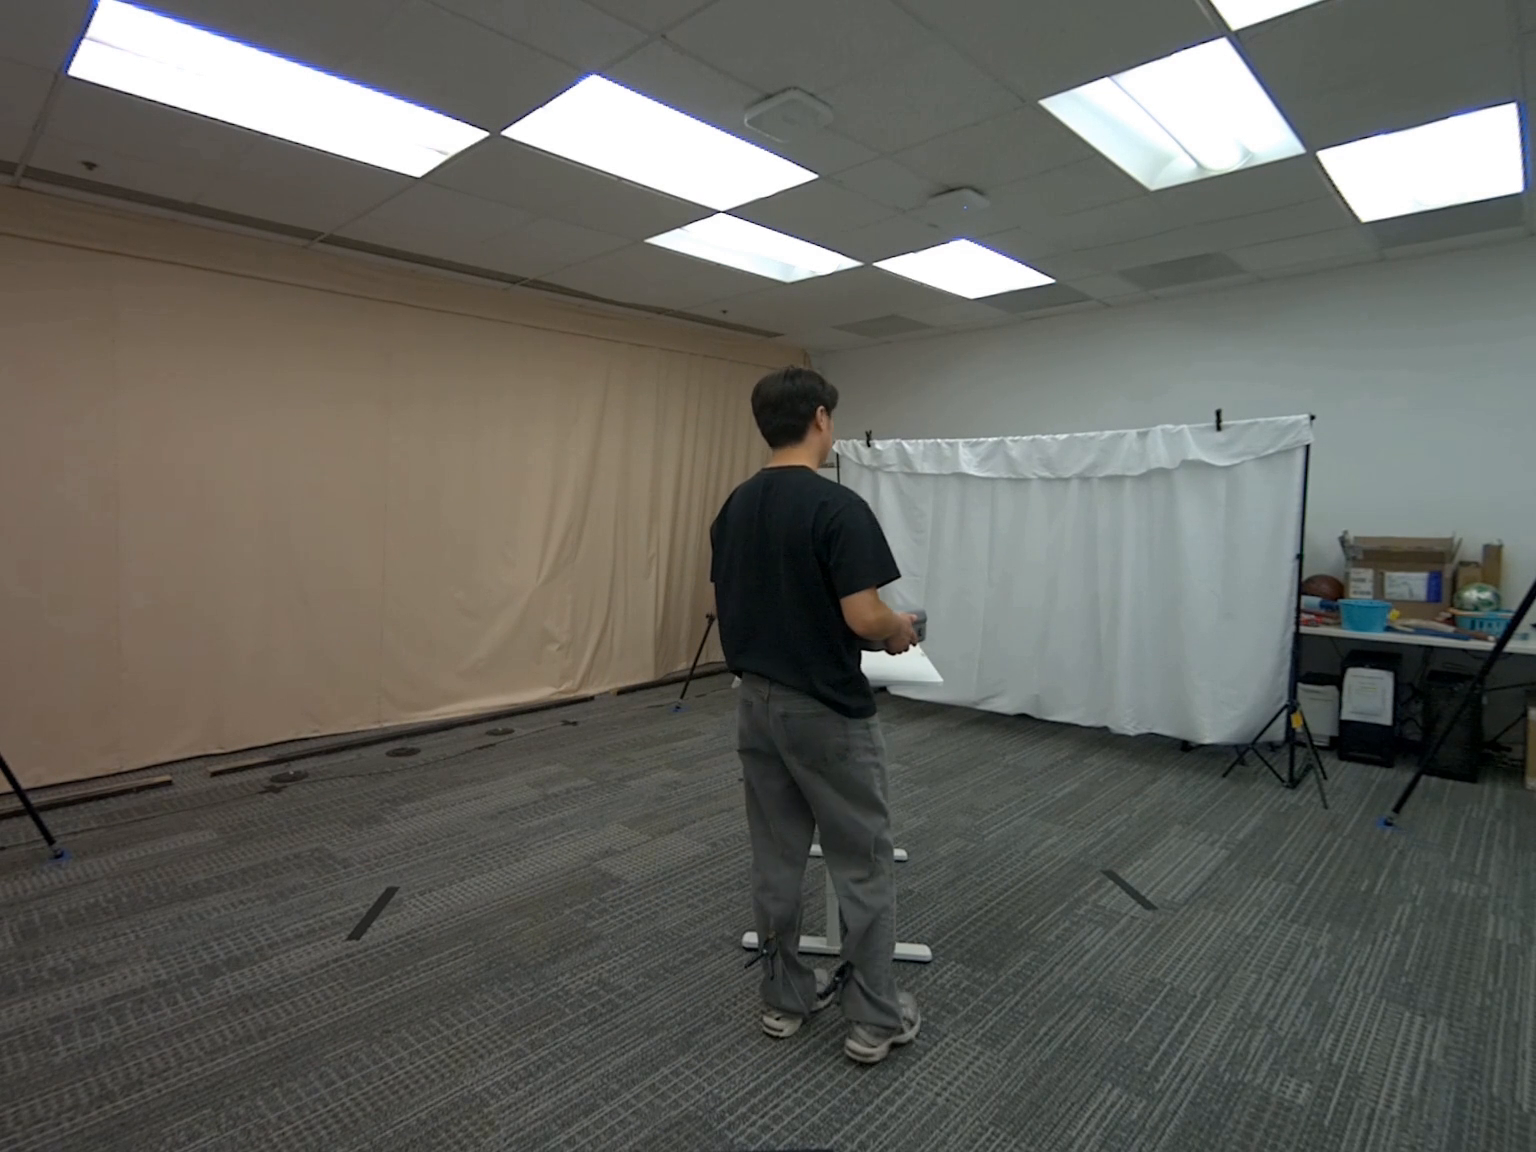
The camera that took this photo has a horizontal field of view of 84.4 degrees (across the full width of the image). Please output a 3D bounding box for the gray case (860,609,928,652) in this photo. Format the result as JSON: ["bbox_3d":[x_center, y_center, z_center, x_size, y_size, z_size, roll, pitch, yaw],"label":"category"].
[{"bbox_3d":[0.284,0.137,2.412,0.282,0.102,0.269,-3,7,-20],"label":"gray case"}]
